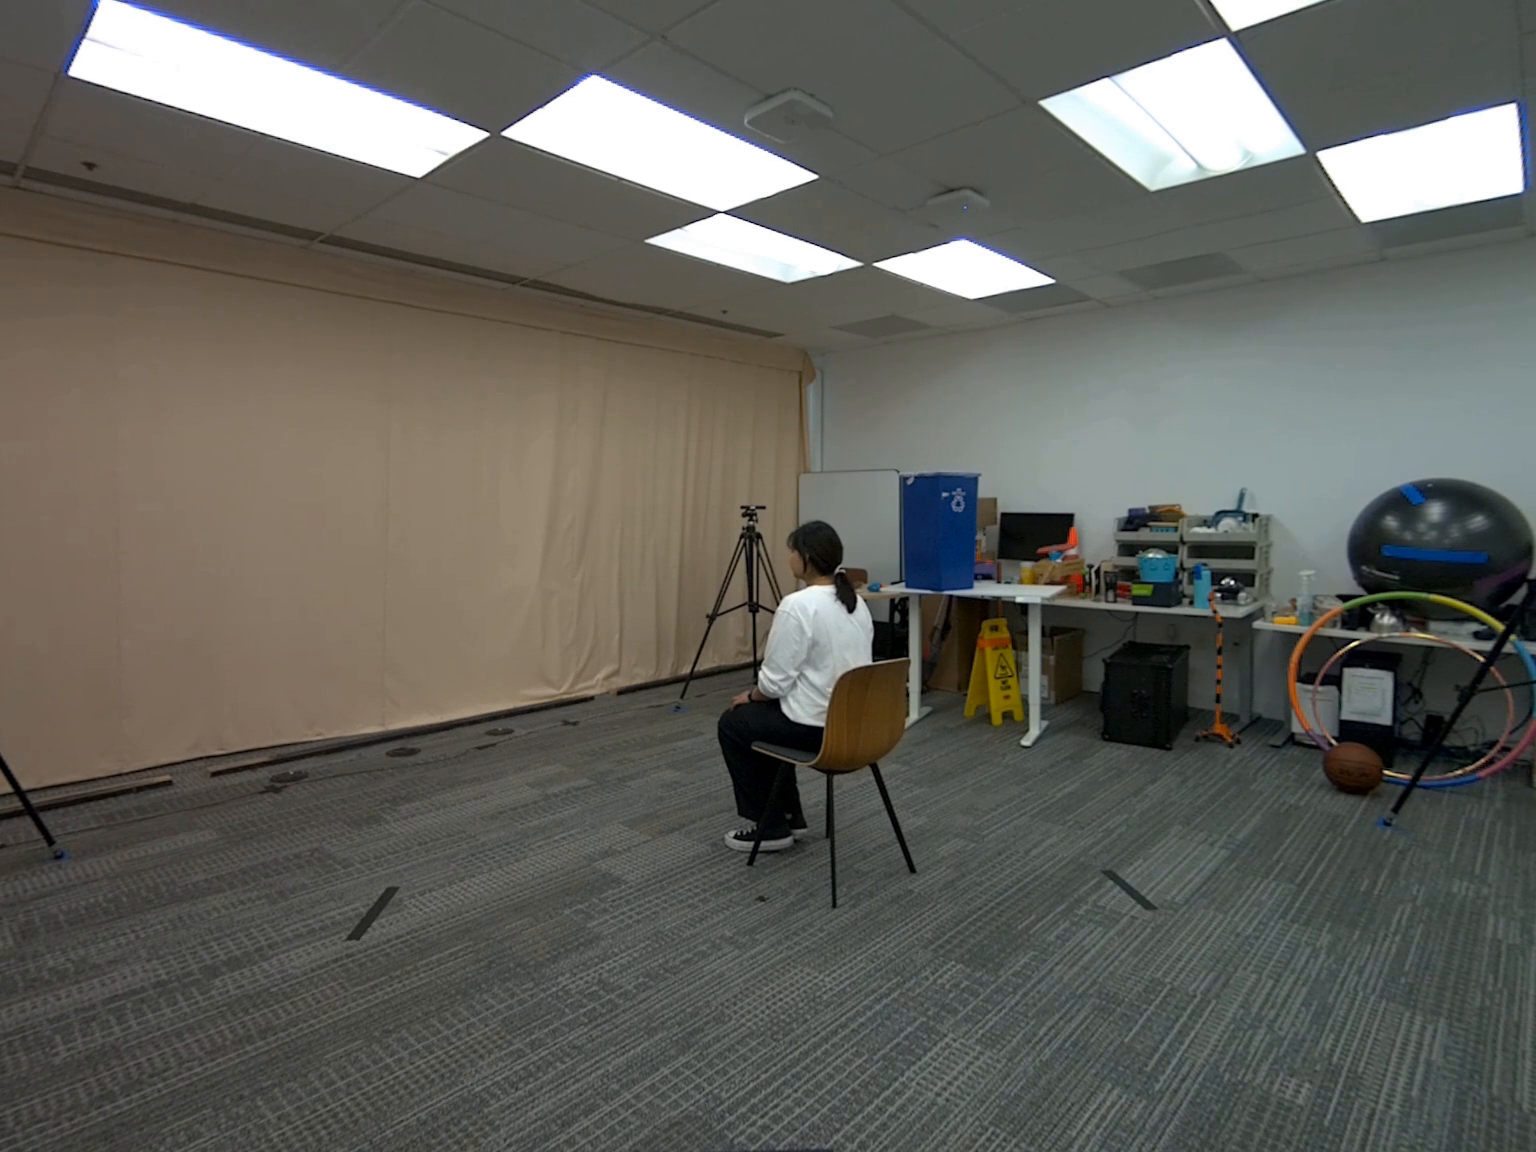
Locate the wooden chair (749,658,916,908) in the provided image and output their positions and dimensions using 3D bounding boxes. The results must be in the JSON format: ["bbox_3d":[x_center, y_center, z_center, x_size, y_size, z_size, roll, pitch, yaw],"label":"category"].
[{"bbox_3d":[0.235,0.695,3.199,0.463,0.874,0.541,-3,8,-41],"label":"wooden chair"}]
